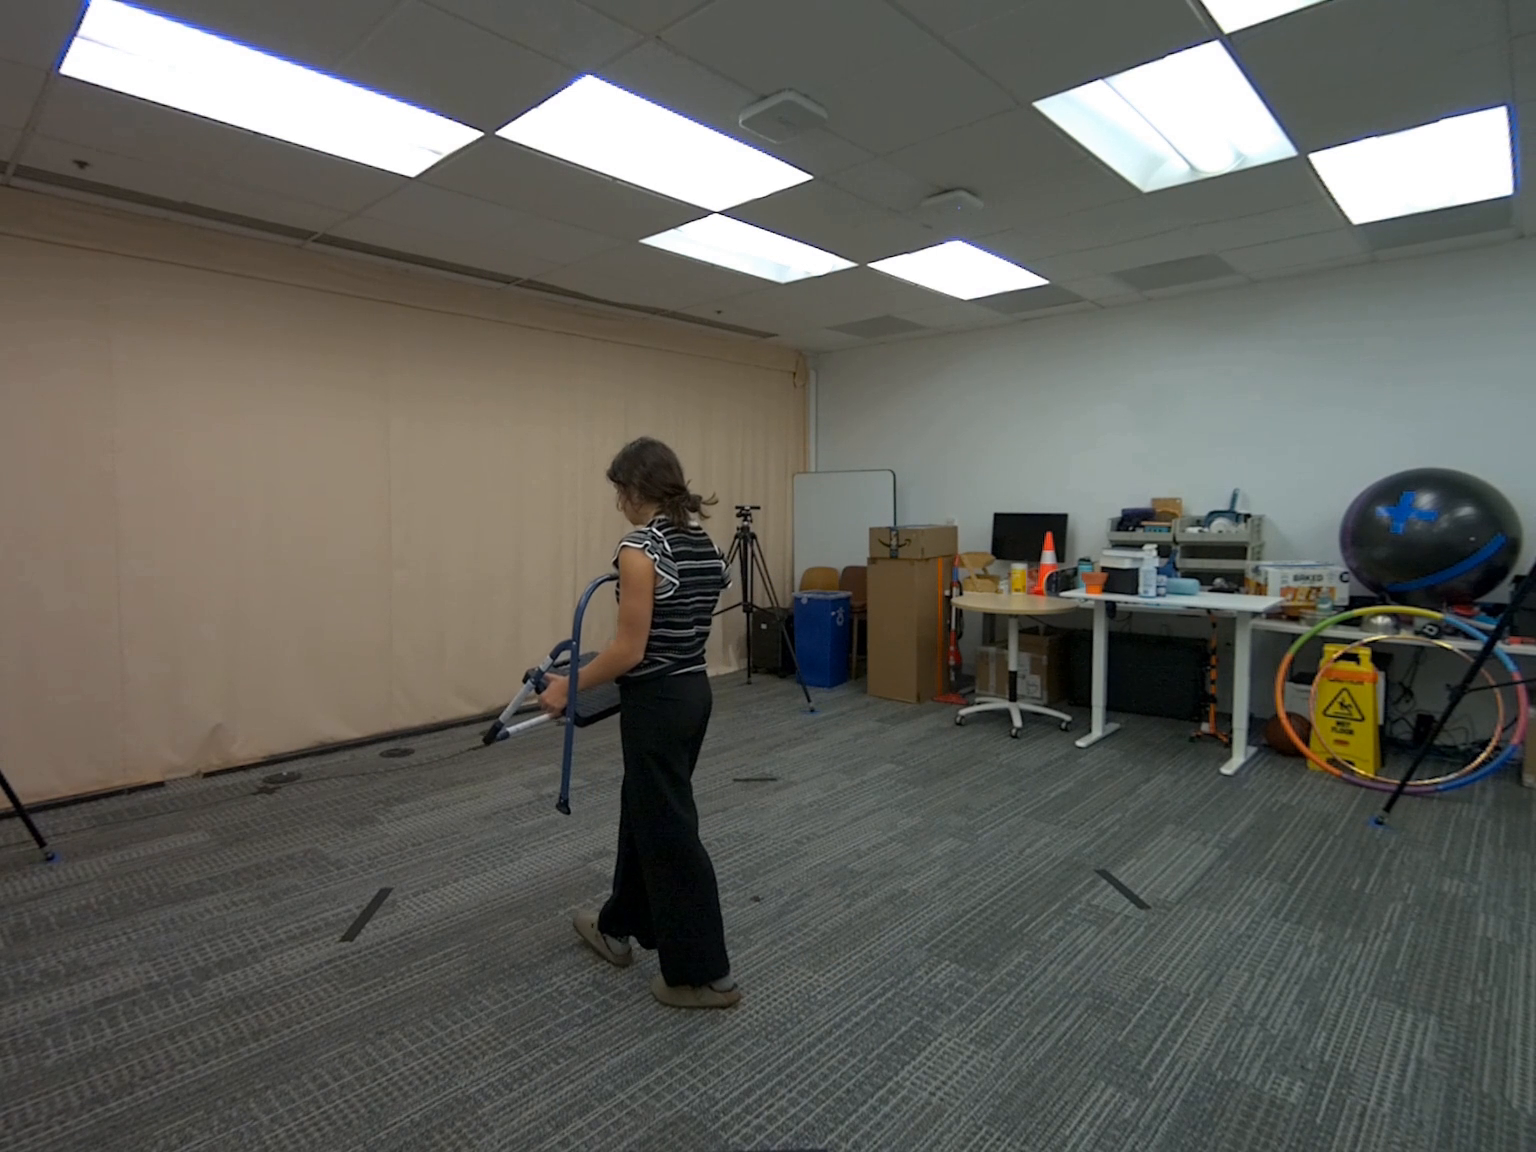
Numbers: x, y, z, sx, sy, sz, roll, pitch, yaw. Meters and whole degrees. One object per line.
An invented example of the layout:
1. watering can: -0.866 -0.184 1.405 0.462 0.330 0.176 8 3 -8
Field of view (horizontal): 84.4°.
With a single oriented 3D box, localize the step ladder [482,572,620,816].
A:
1. step ladder: -0.497 0.294 2.494 0.358 0.605 0.421 31 16 19
